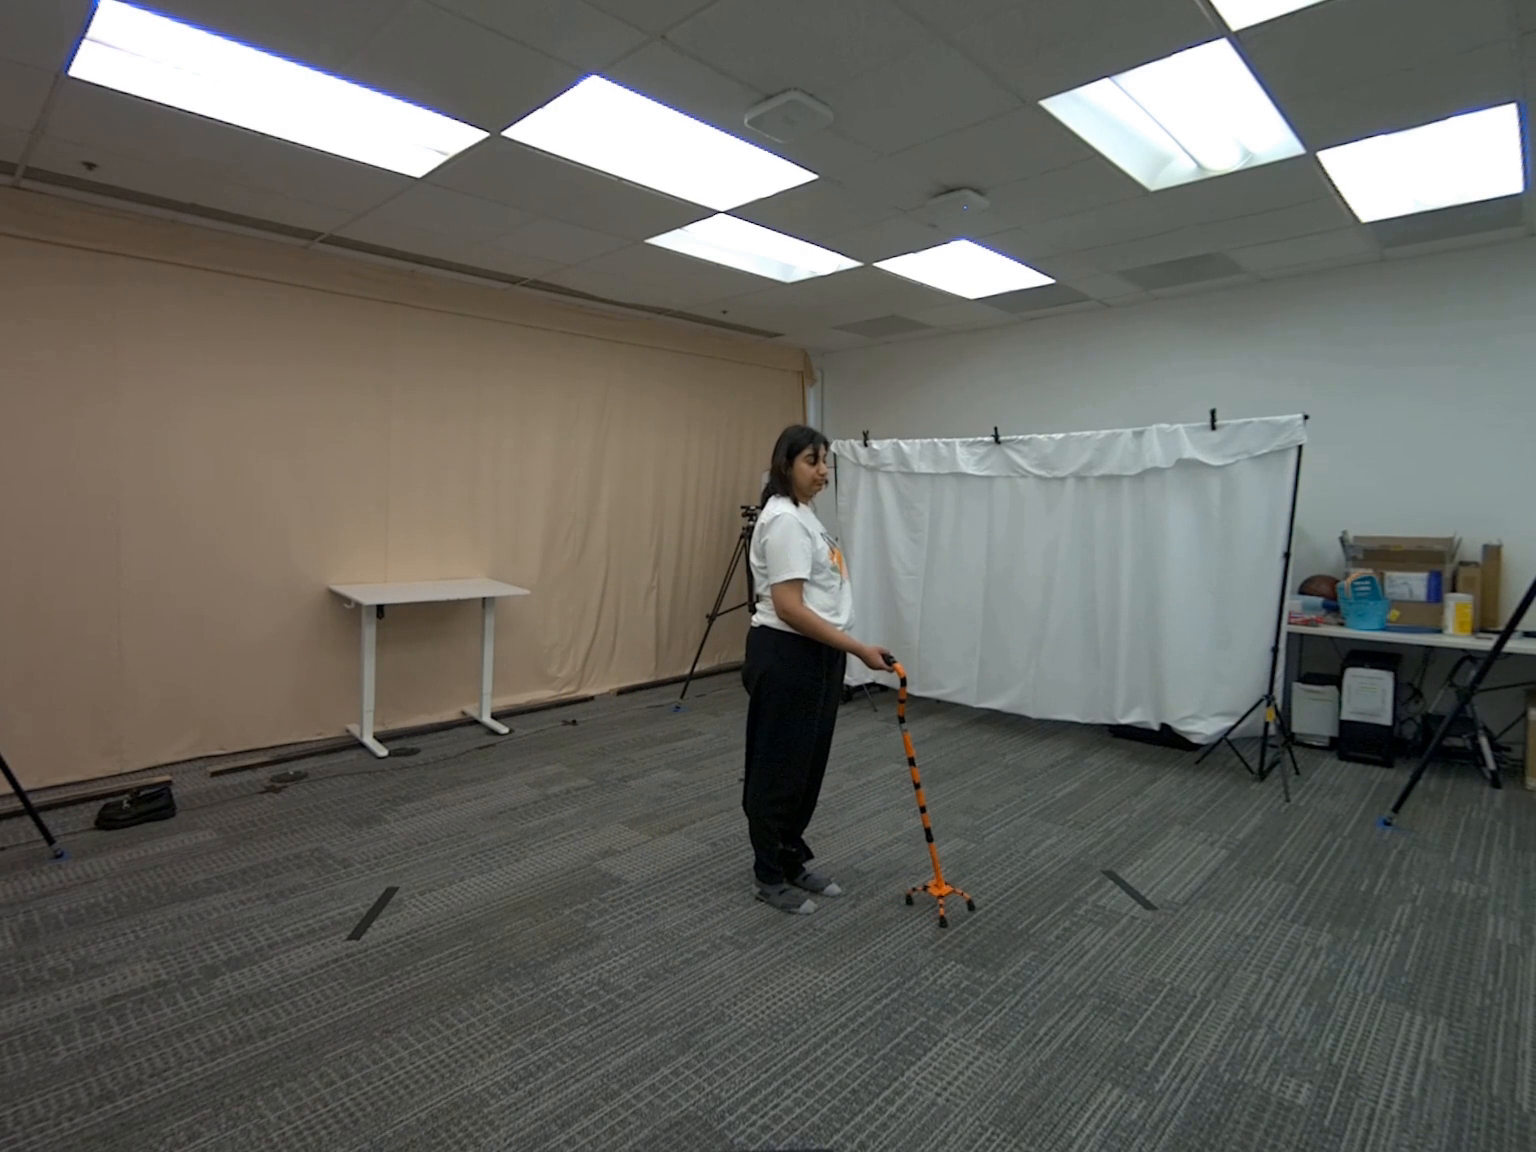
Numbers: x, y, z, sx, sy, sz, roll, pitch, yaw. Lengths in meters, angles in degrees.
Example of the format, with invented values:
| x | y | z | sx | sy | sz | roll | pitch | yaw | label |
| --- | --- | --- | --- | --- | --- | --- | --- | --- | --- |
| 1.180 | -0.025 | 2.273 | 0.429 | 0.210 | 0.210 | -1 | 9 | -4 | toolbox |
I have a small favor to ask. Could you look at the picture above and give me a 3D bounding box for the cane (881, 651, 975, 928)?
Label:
| x | y | z | sx | sy | sz | roll | pitch | yaw | label |
| --- | --- | --- | --- | --- | --- | --- | --- | --- | --- |
| 0.491 | 0.700 | 2.810 | 0.149 | 0.900 | 0.212 | -17 | 10 | -24 | cane |
